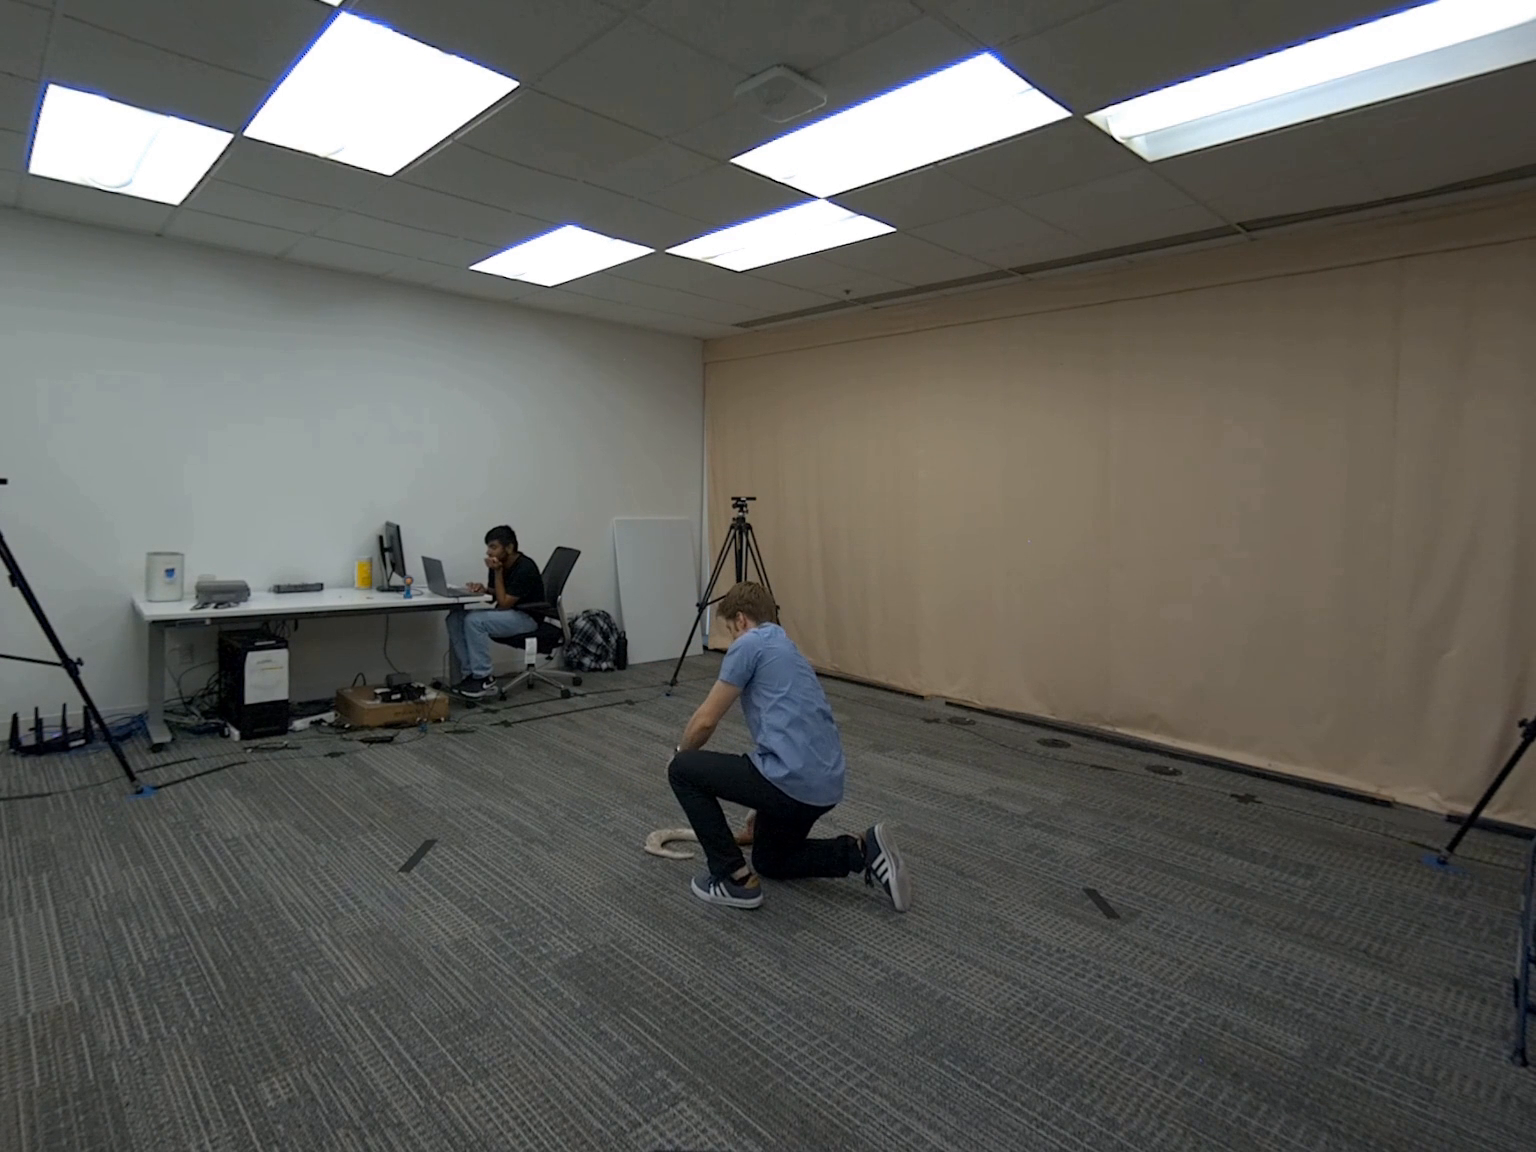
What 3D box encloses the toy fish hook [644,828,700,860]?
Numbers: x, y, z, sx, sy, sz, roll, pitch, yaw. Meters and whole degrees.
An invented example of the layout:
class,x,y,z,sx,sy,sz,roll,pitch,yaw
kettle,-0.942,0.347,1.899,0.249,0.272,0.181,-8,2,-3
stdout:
class,x,y,z,sx,sy,sz,roll,pitch,yaw
toy fish hook,-0.234,1.063,3.335,0.506,0.048,0.227,0,13,-1
